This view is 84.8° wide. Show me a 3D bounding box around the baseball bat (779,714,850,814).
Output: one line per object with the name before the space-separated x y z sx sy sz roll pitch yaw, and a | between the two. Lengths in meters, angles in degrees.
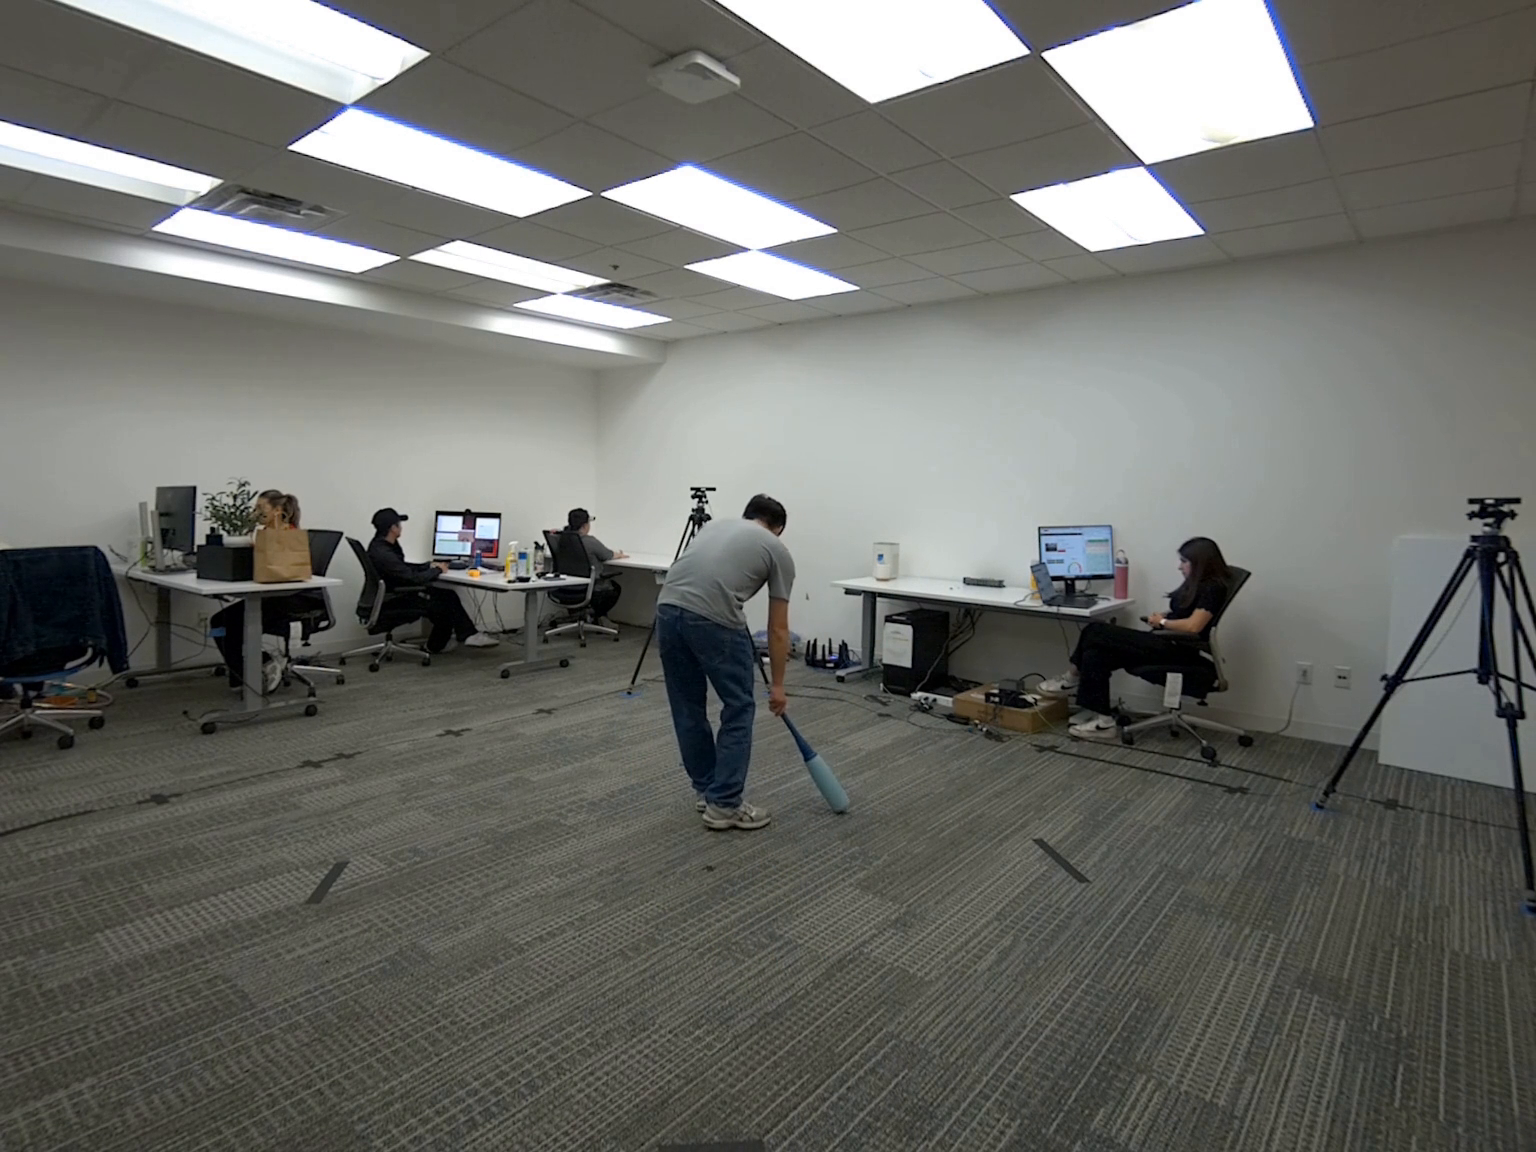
baseball bat | 0.153 0.783 3.716 0.089 0.550 0.088 -33 -9 -7
